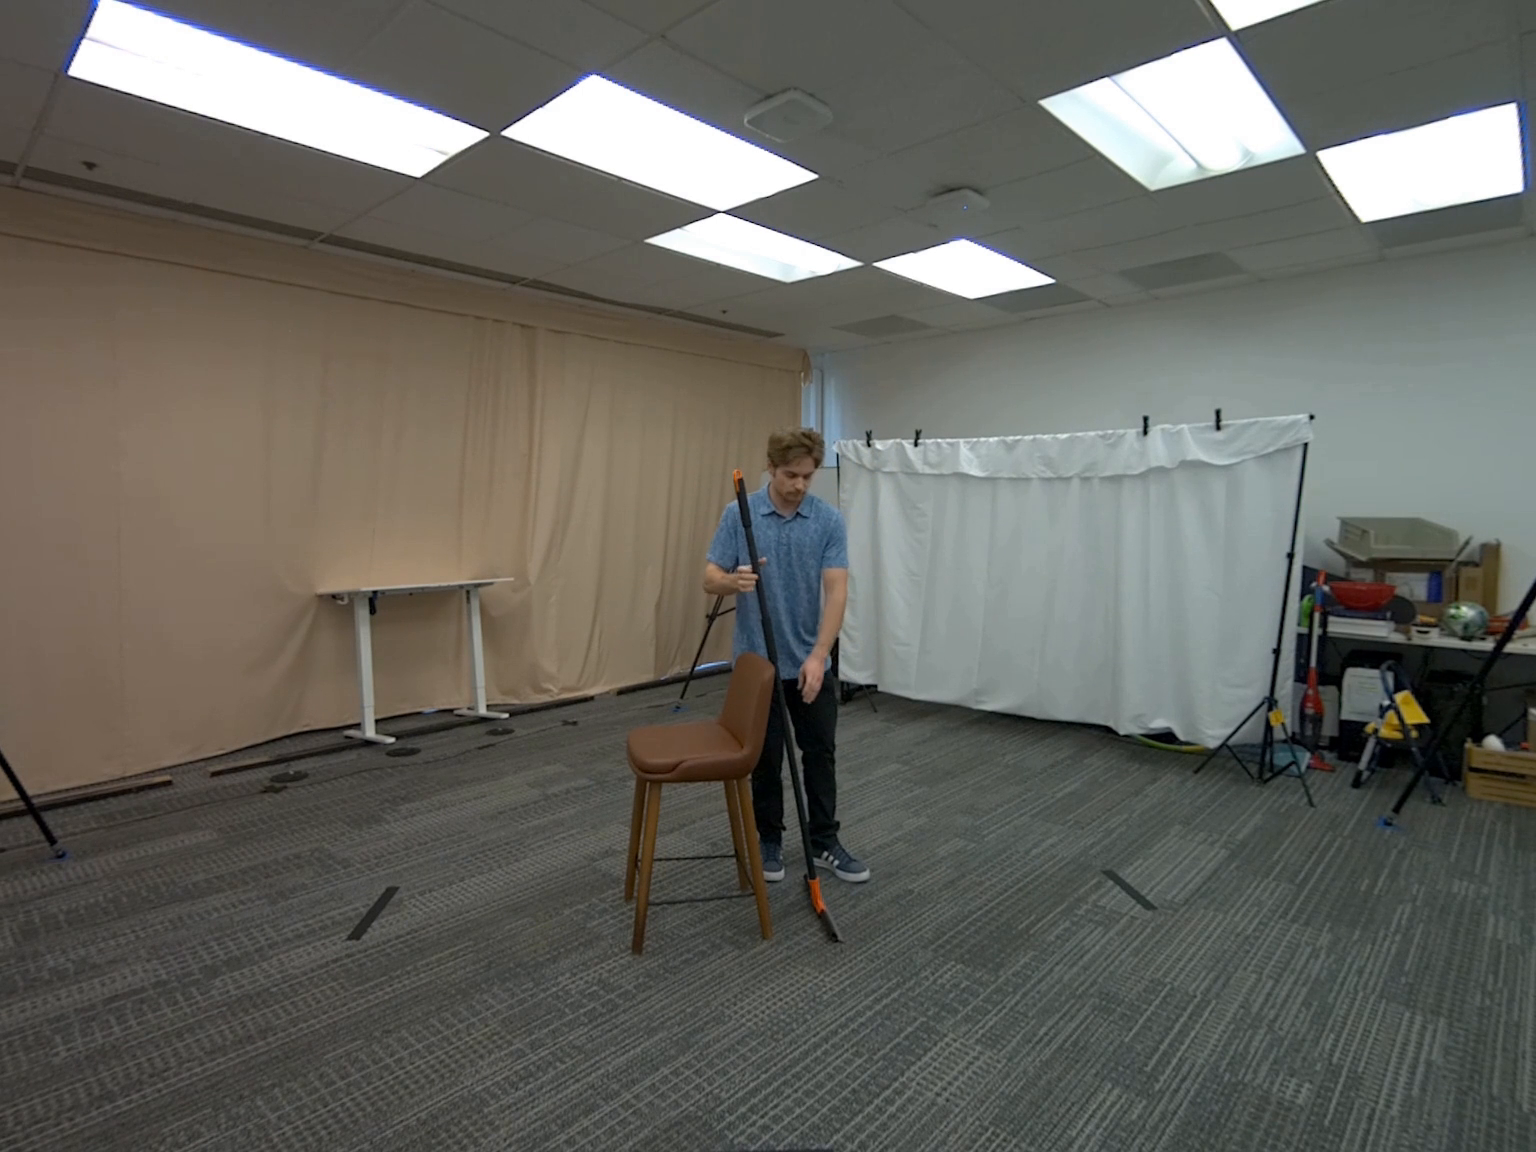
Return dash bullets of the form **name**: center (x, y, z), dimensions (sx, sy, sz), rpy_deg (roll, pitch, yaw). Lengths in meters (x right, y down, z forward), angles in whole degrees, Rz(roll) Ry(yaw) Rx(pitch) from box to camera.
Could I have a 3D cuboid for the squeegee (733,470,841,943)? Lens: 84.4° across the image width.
- **squeegee**: center (0.048, 0.395, 2.860), dimensions (0.054, 1.531, 0.432), rpy_deg (-9, 5, 17)
